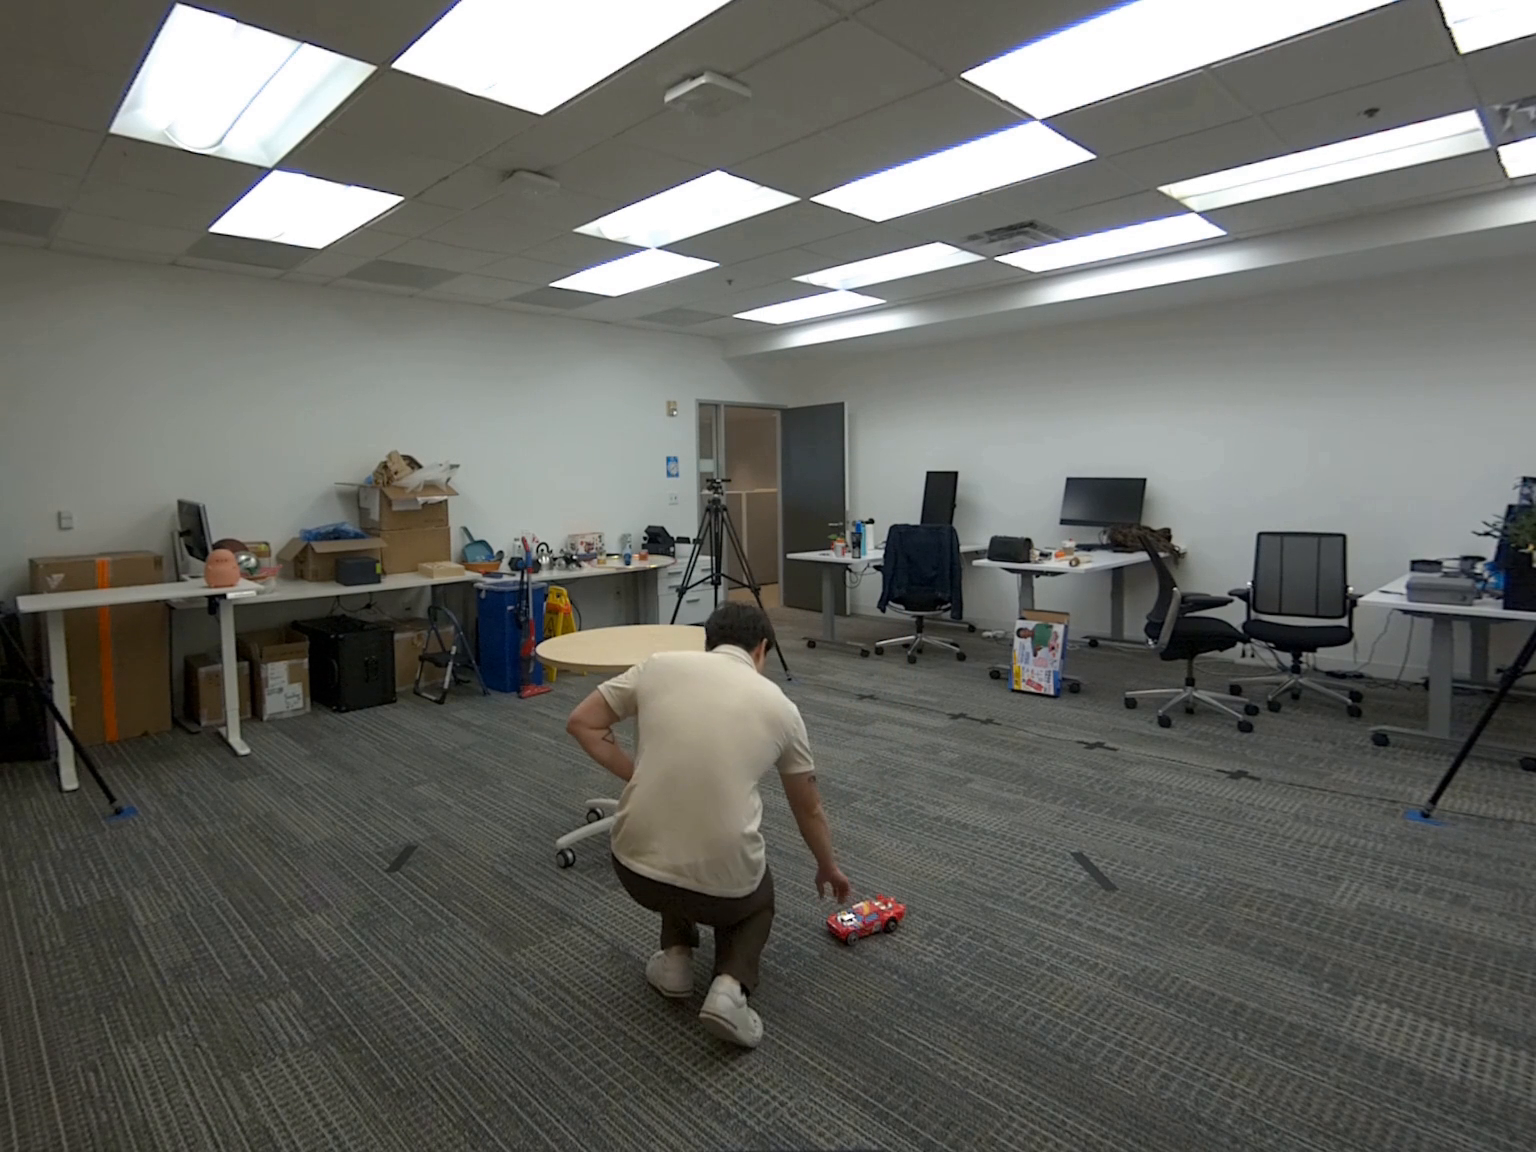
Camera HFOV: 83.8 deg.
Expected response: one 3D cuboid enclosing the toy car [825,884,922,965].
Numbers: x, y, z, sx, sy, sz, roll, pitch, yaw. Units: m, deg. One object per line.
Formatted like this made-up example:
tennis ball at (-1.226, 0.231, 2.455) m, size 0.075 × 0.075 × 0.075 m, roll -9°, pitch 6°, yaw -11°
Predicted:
toy car at (0.322, 1.063, 2.631) m, size 0.250 × 0.082 × 0.134 m, roll -17°, pitch 13°, yaw -27°
